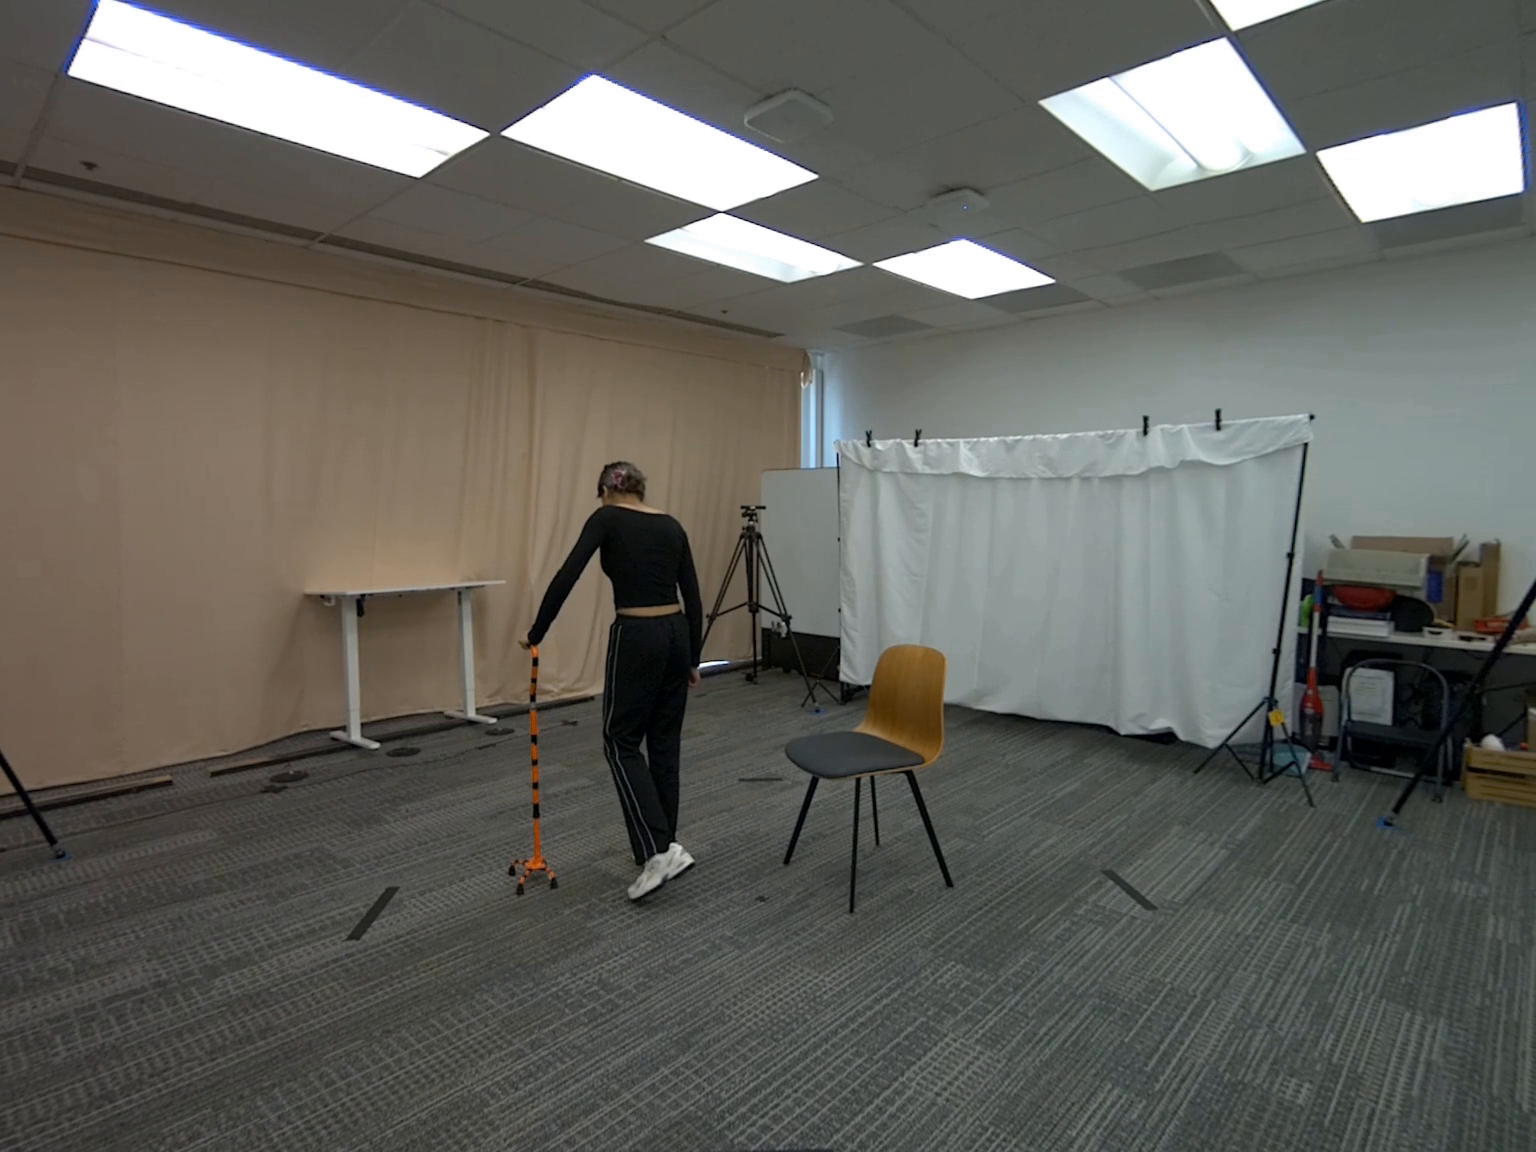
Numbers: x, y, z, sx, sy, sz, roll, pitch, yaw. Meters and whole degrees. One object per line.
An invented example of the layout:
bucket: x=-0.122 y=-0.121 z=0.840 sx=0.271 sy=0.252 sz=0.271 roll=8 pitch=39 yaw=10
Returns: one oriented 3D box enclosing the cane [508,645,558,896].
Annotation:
cane: x=-0.889 y=0.690 z=3.128 sx=0.148 sy=0.907 sz=0.211 roll=-1 pitch=1 yaw=-24
